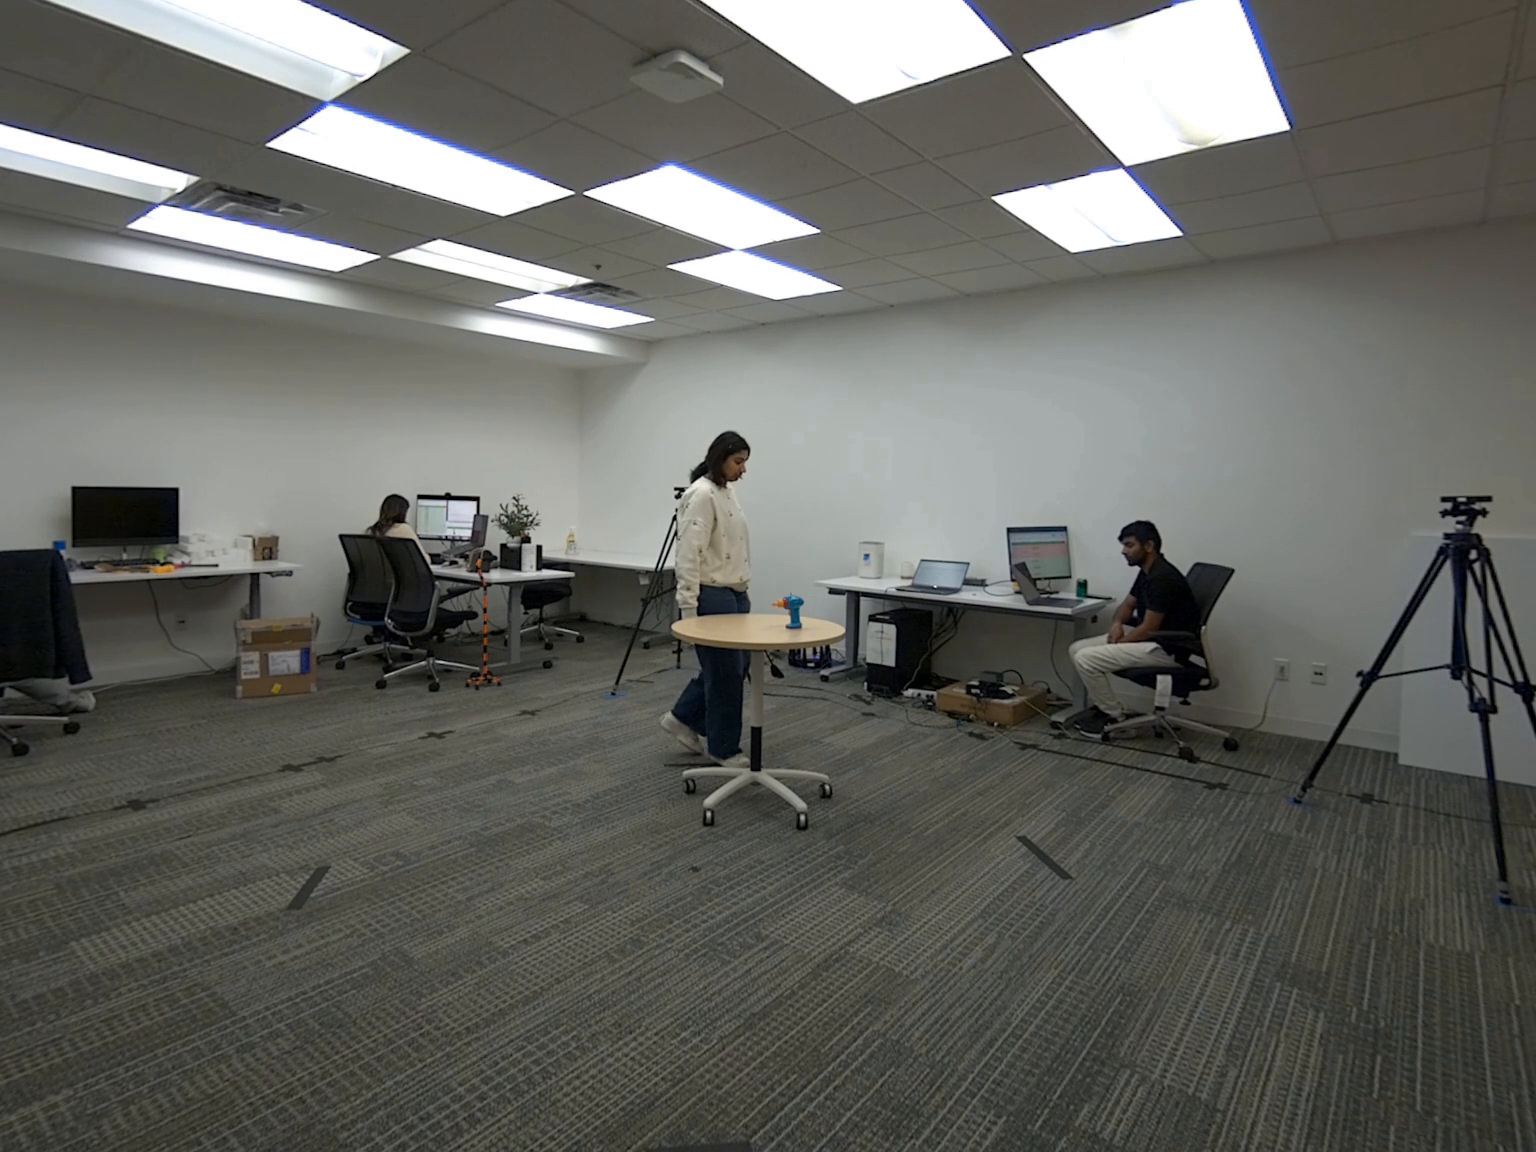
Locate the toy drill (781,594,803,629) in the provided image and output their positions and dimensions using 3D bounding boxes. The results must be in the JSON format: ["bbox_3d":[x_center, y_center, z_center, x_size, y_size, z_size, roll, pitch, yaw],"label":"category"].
[{"bbox_3d":[0.076,0.153,3.732,0.165,0.145,0.063,-4,8,-32],"label":"toy drill"}]
